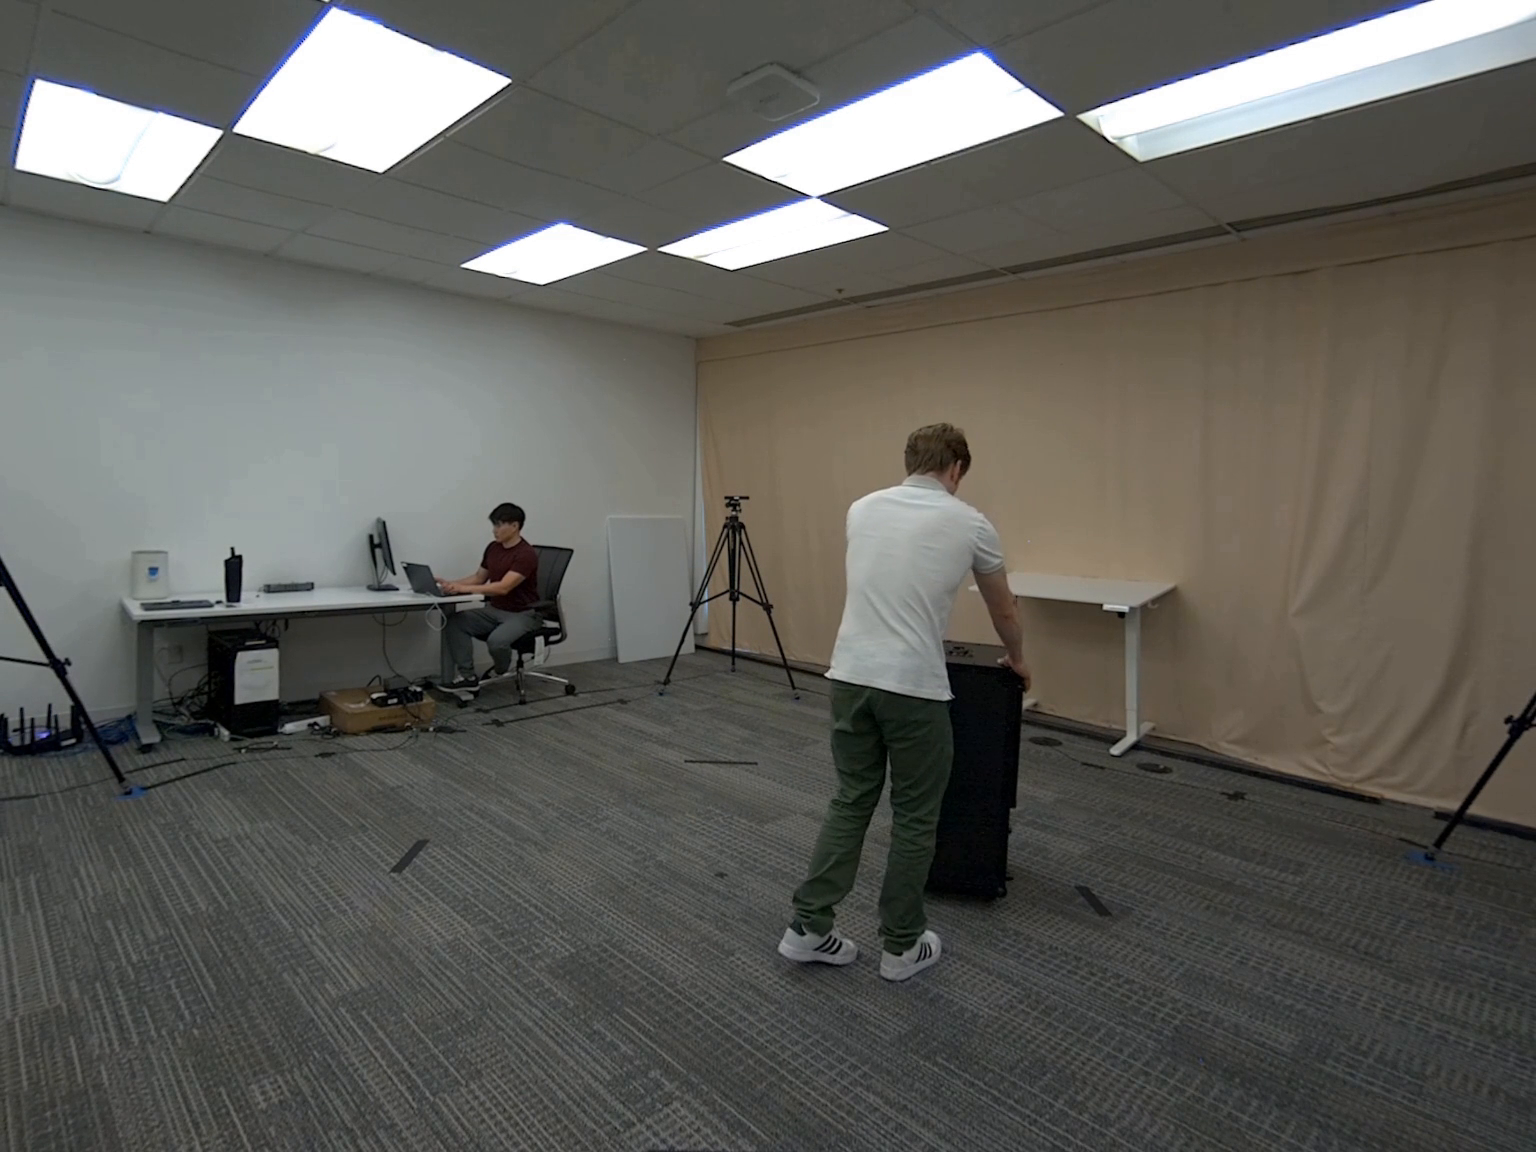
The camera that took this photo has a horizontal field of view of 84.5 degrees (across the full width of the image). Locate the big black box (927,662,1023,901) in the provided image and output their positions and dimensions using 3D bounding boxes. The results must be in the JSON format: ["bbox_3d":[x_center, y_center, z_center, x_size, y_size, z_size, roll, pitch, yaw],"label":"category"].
[{"bbox_3d":[0.705,0.703,3.094,0.390,0.866,0.518,3,4,16],"label":"big black box"}]
